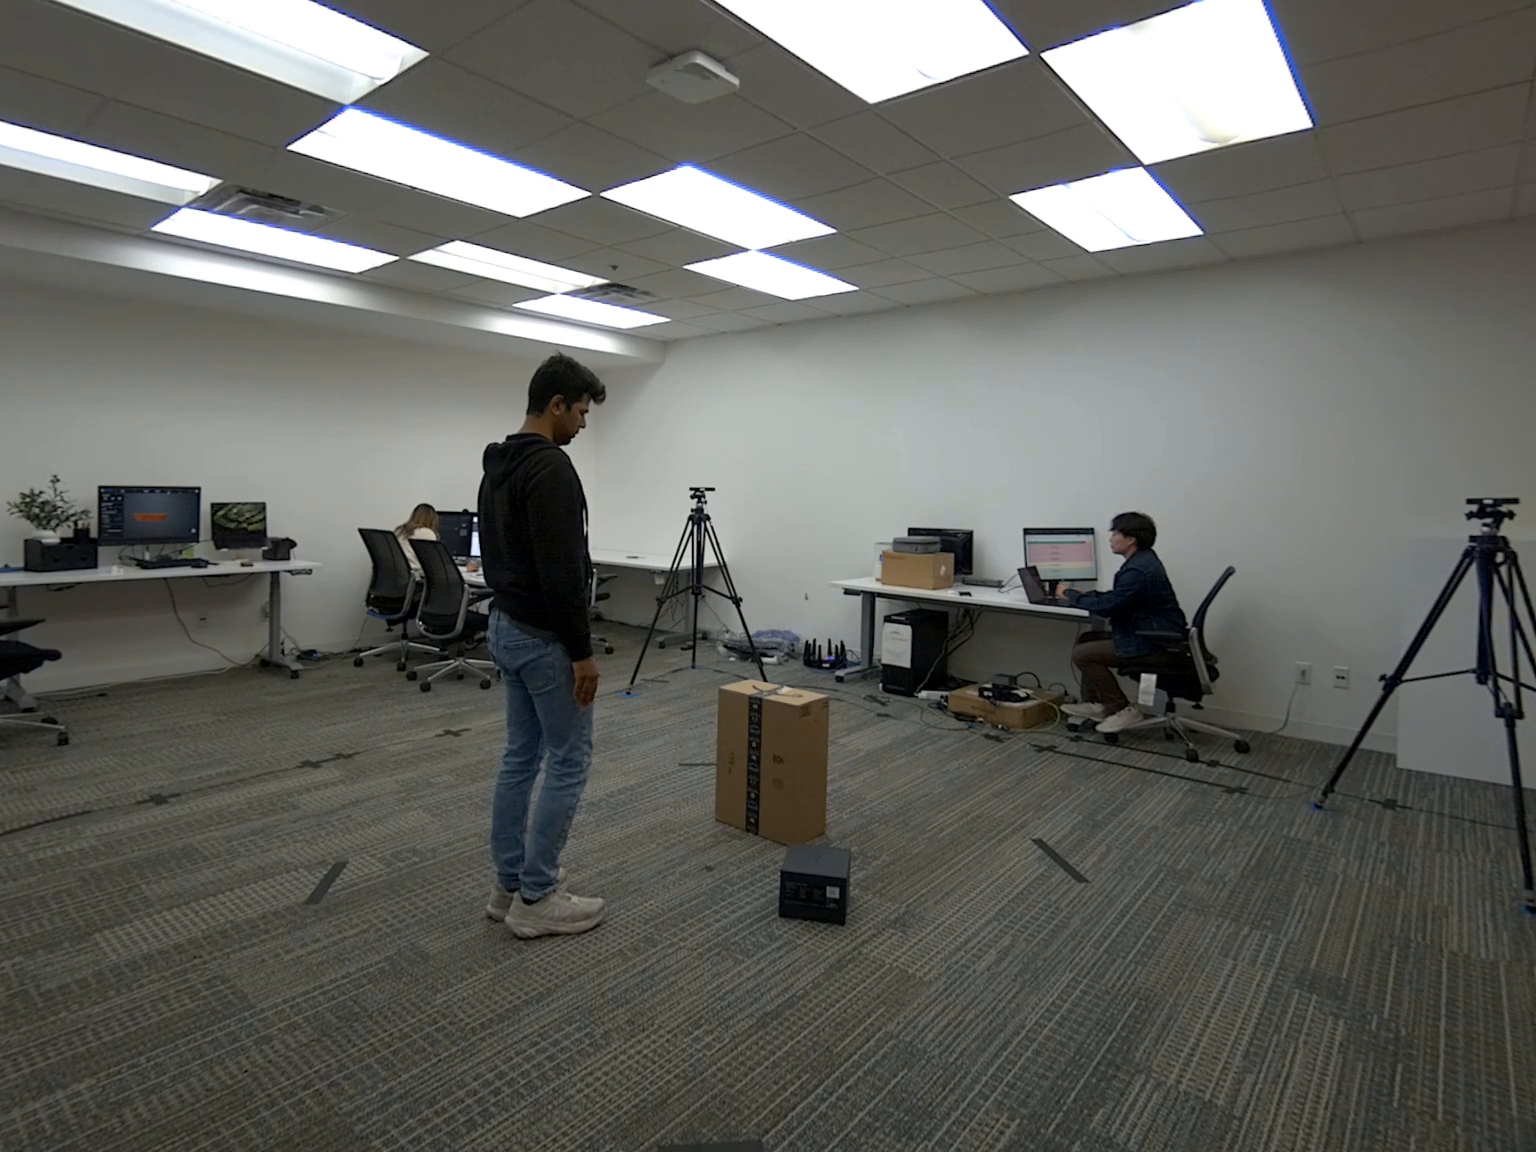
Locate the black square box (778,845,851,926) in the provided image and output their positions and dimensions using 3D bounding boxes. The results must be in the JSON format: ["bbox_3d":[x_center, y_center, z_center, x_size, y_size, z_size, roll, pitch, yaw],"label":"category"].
[{"bbox_3d":[0.155,1.018,2.843,0.220,0.155,0.226,2,5,10],"label":"black square box"}]
